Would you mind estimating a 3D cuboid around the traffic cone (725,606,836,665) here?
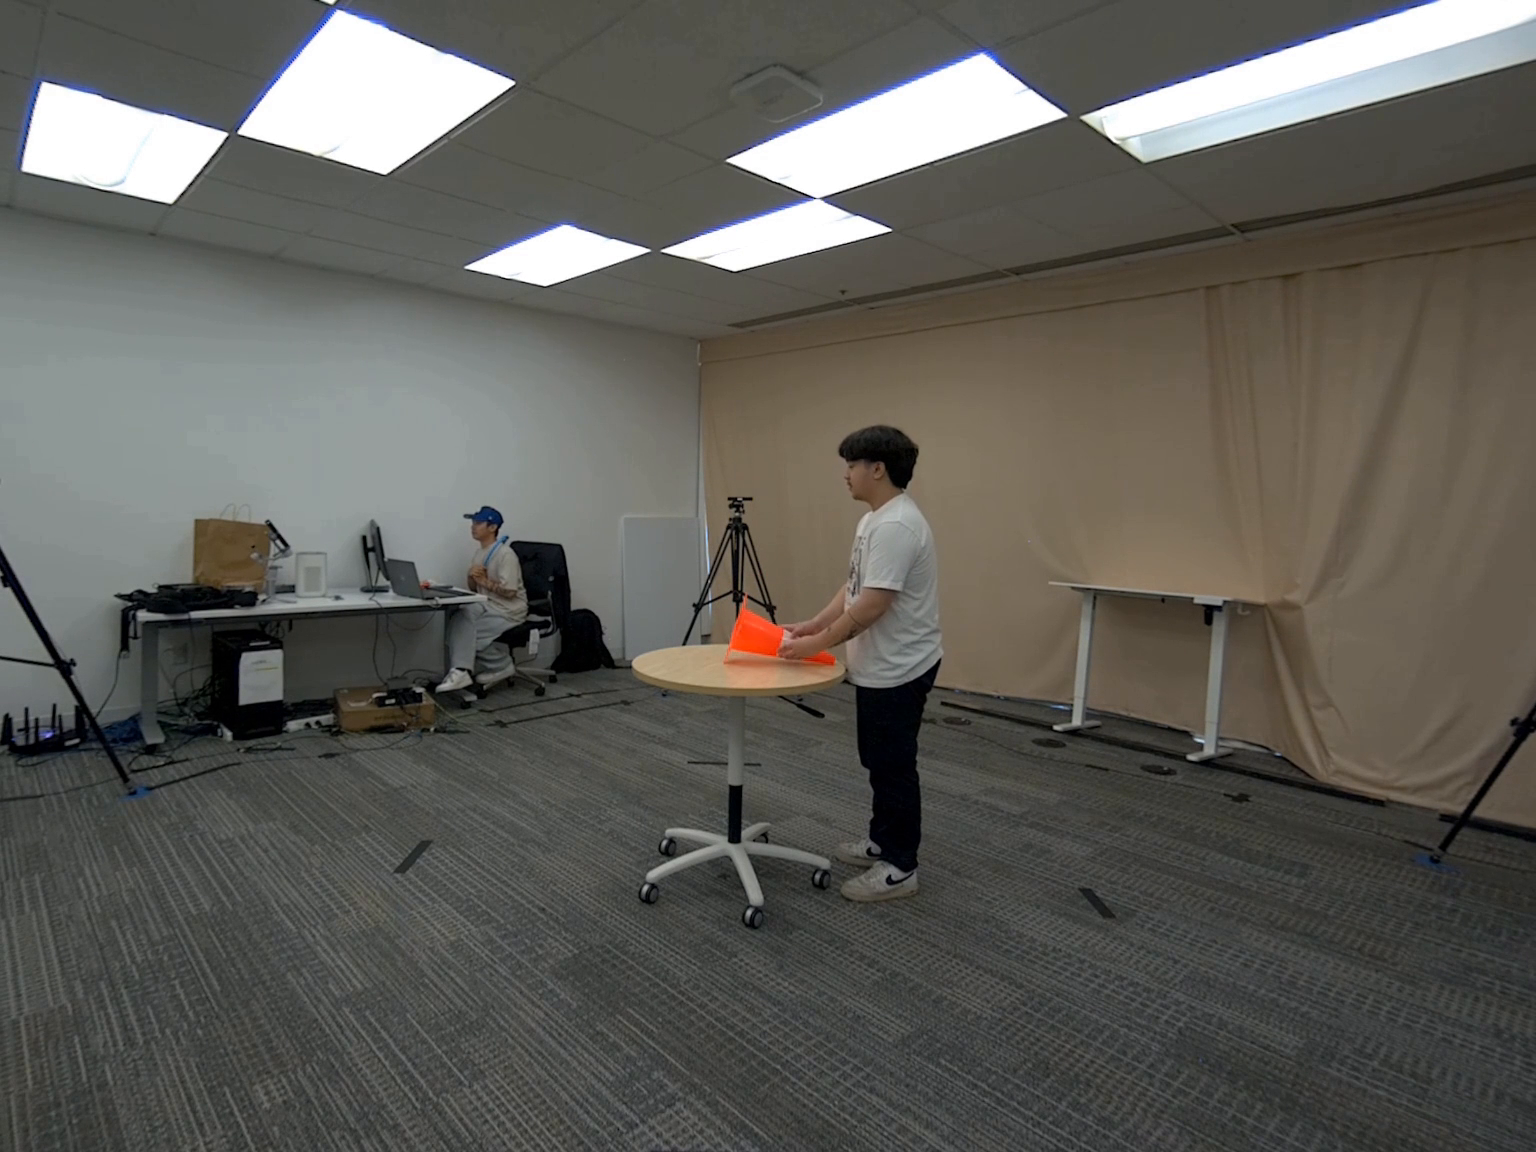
[{"bbox_3d":[0.066,0.255,3.052,0.385,0.201,0.206,14,20,2],"label":"traffic cone"}]
